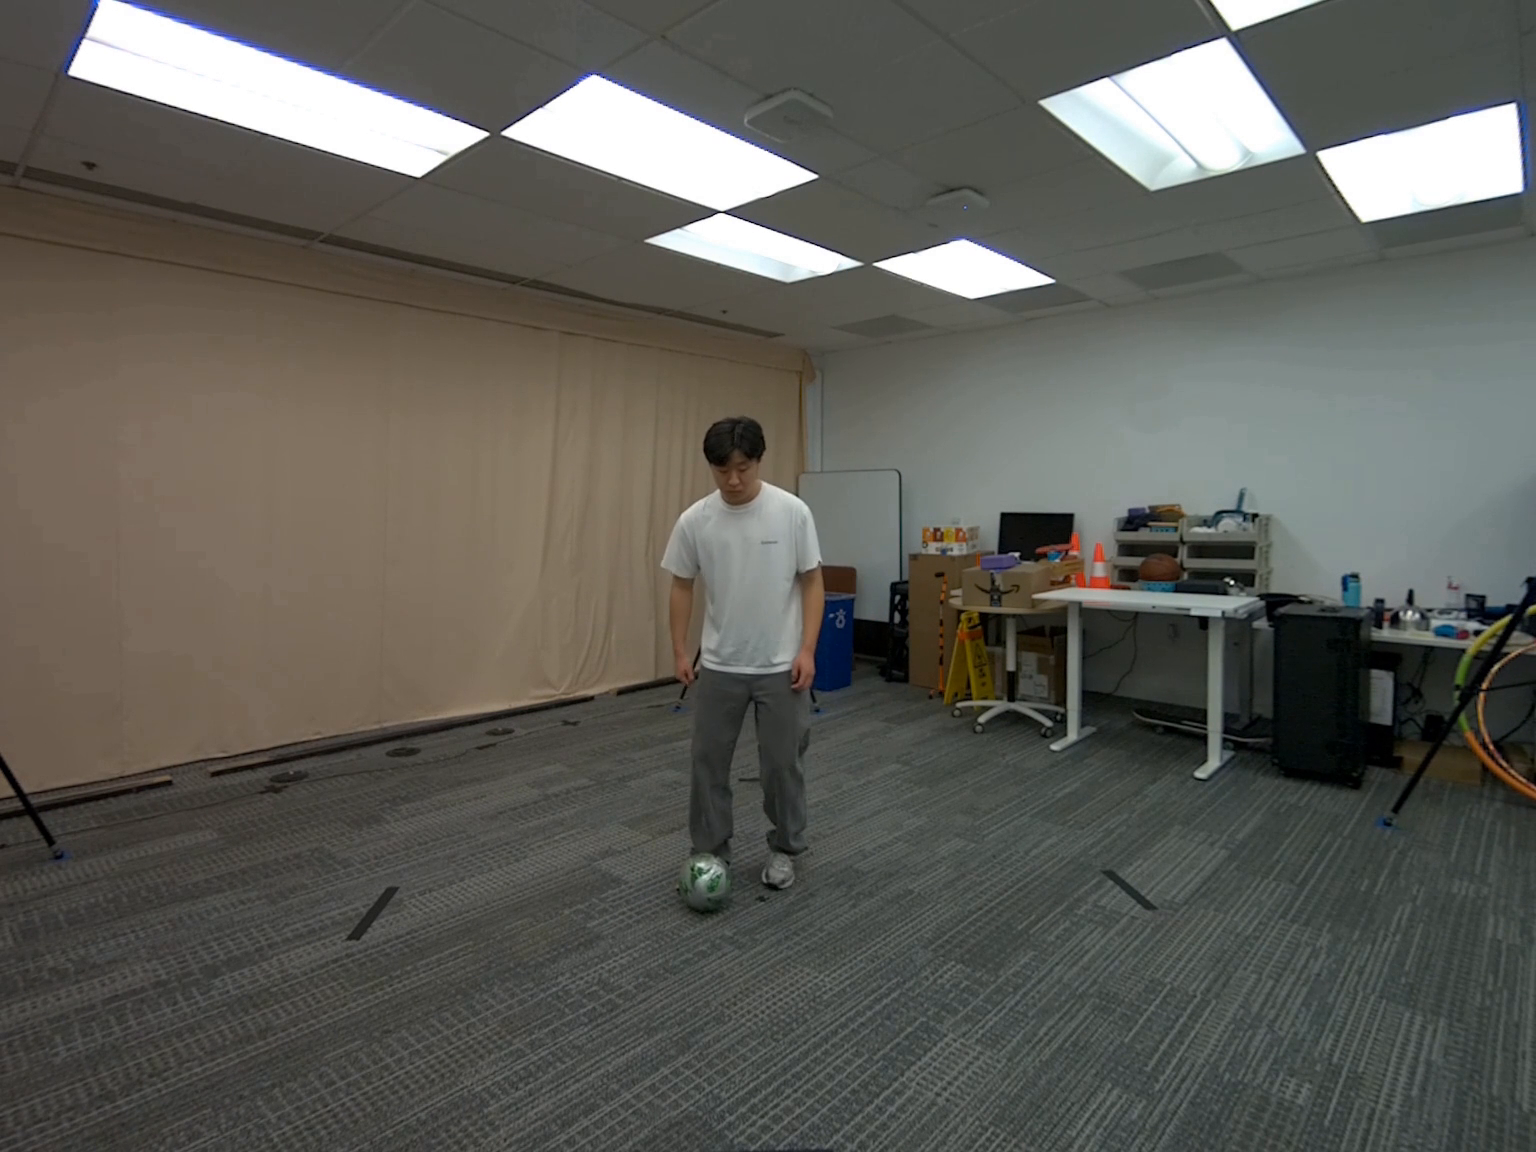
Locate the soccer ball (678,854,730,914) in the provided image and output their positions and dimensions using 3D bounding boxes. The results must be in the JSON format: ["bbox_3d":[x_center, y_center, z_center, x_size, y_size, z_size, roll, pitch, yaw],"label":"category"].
[{"bbox_3d":[-0.216,1.050,2.907,0.187,0.187,0.188,0,4,-2],"label":"soccer ball"}]
